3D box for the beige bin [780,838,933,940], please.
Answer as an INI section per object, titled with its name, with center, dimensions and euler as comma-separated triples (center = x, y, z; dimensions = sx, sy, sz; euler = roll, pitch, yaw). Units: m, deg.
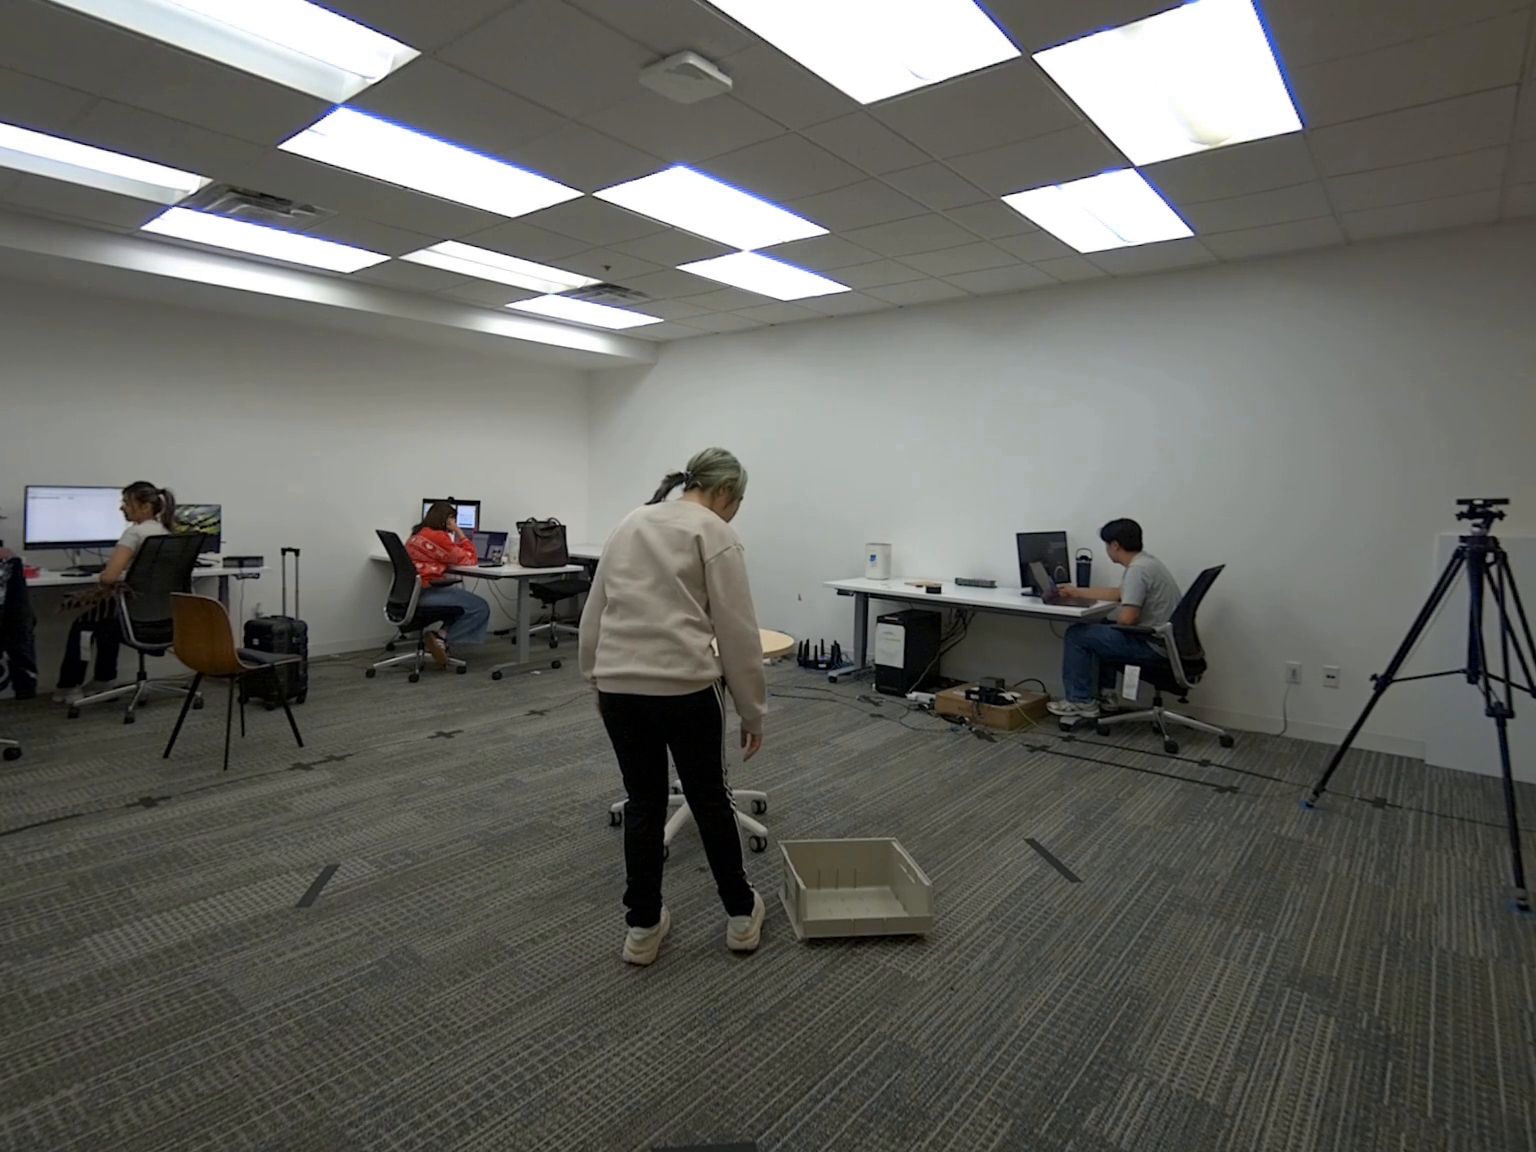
[beige bin]
center = 0.272, 1.027, 2.780
dimensions = 0.418, 0.188, 0.382
euler = 0, 4, -10
